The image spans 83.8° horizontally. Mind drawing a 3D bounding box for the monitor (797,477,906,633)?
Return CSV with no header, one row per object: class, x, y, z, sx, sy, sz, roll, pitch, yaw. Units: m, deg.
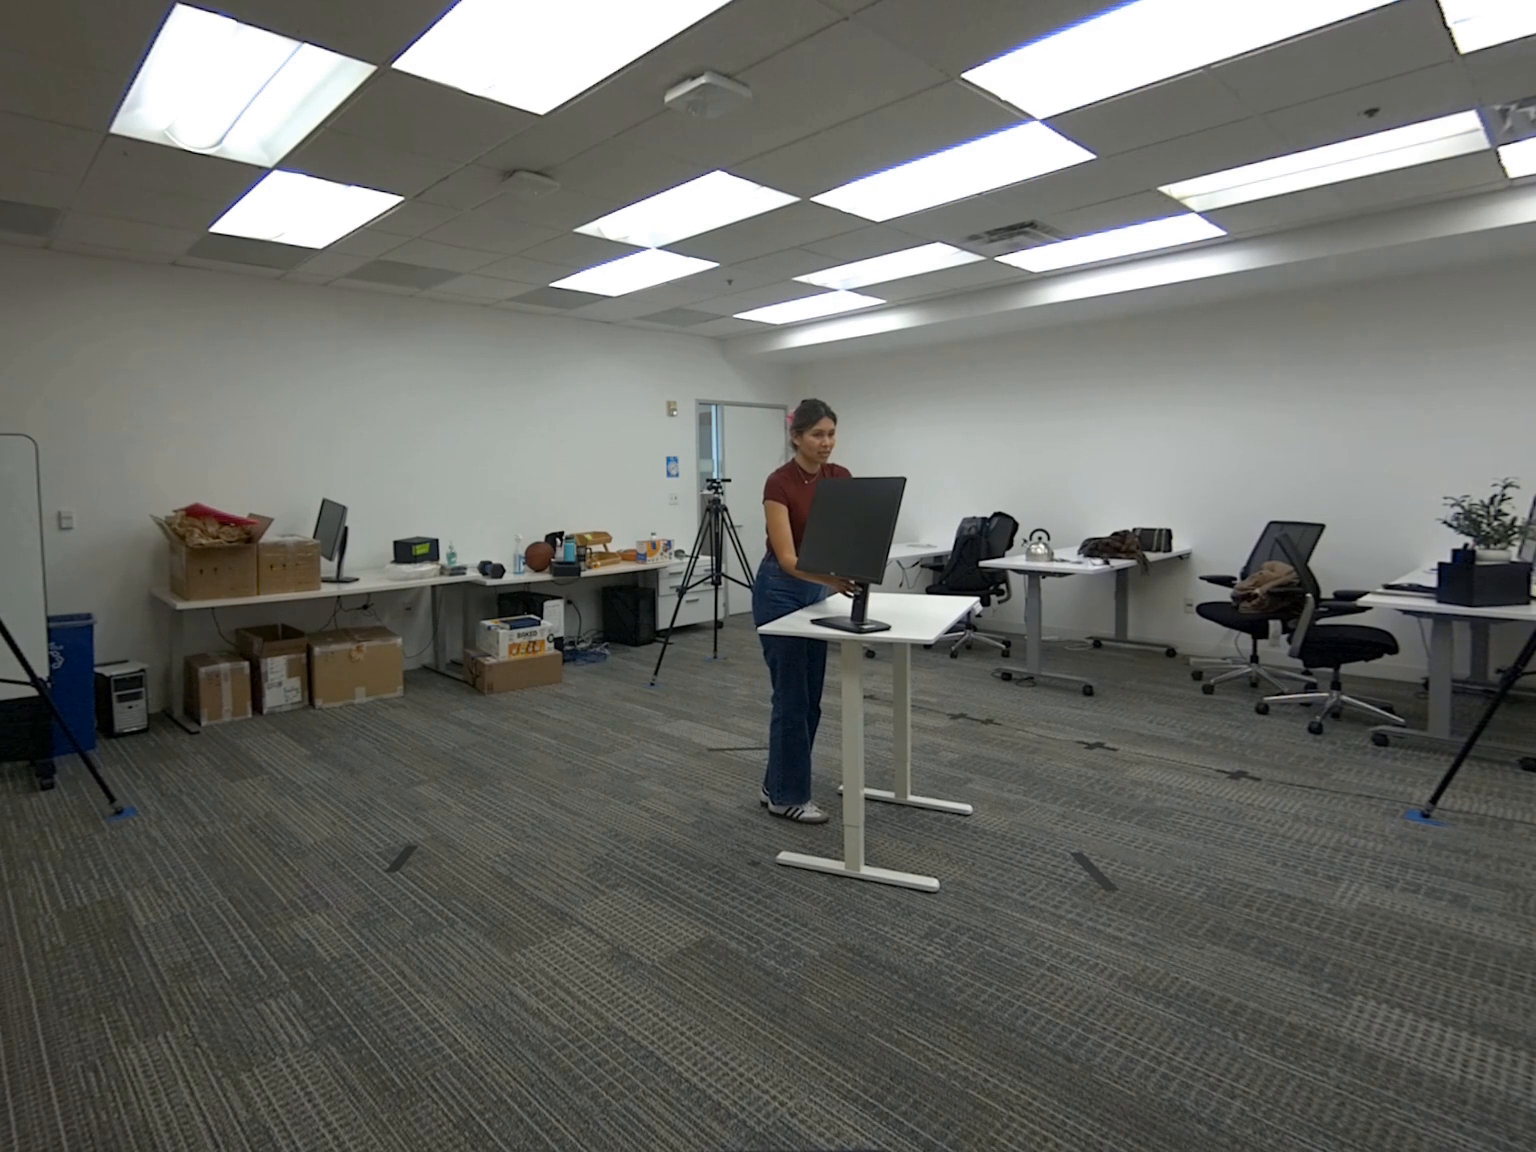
monitor,0.290,-0.078,2.948,0.183,0.521,0.553,0,4,-28
